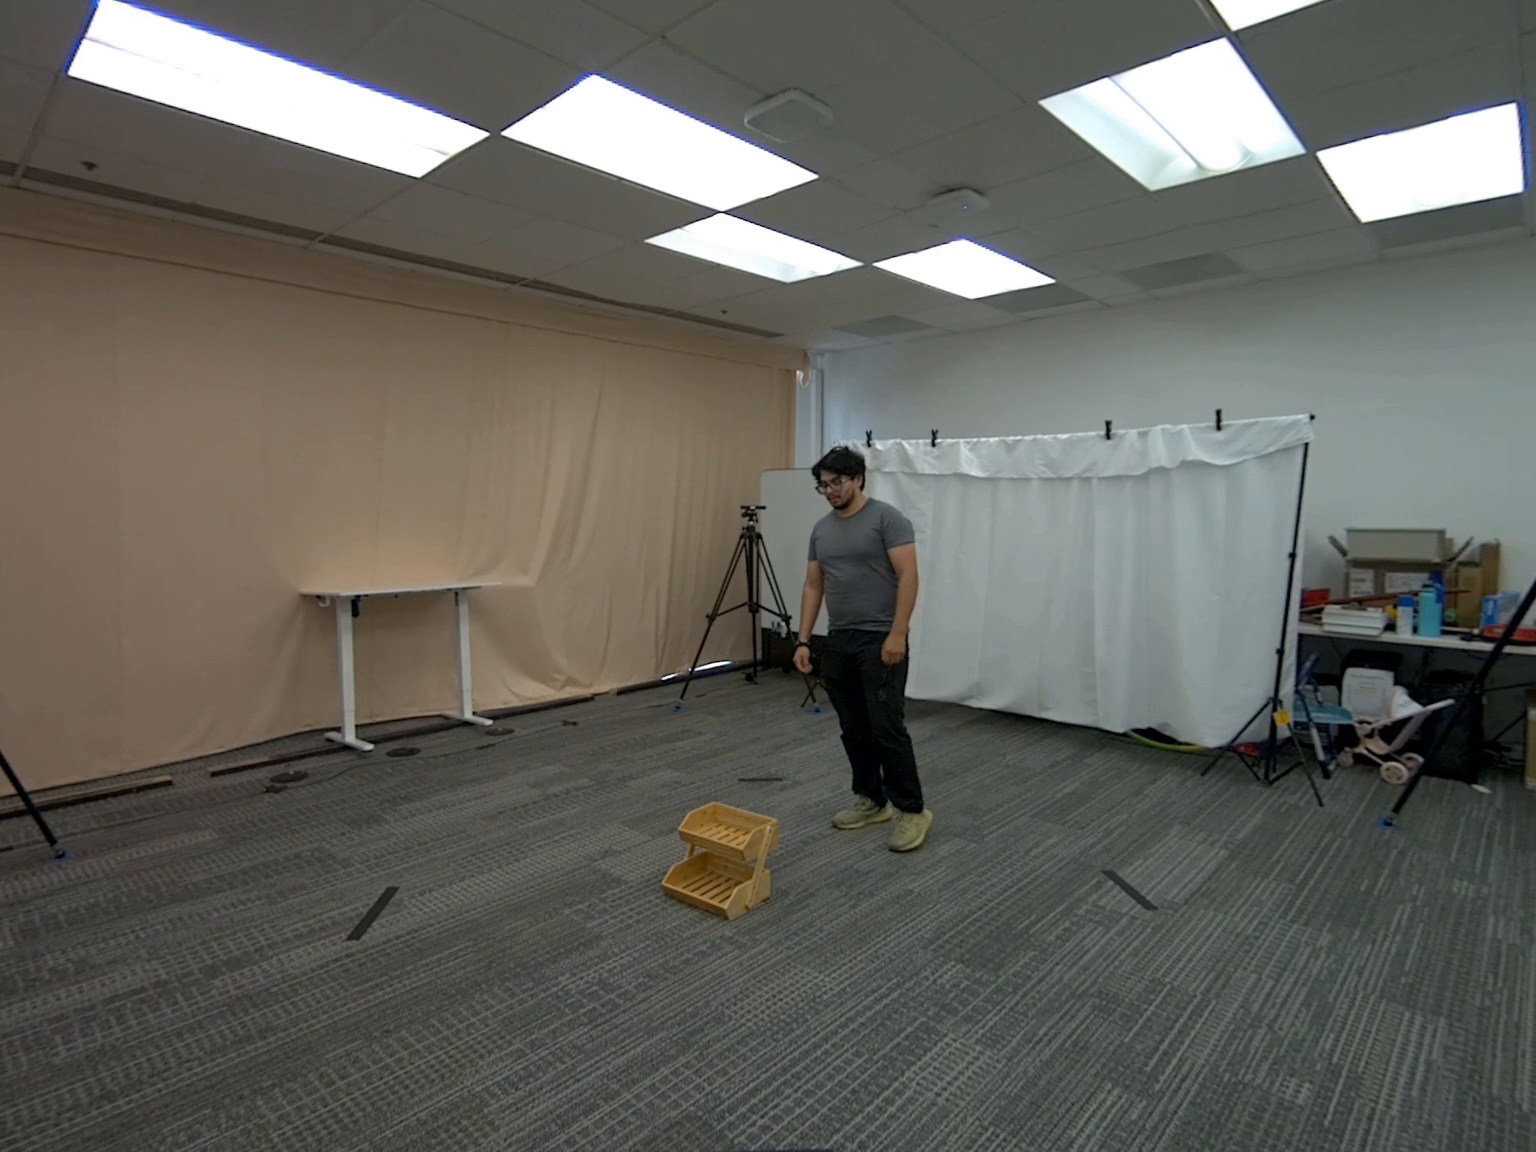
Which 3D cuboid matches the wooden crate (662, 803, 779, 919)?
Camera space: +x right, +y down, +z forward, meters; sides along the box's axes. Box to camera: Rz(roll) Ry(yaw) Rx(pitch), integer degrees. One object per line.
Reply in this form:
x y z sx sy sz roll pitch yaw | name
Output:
-0.168 1.001 3.021 0.335 0.273 0.293 2 4 38 | wooden crate
